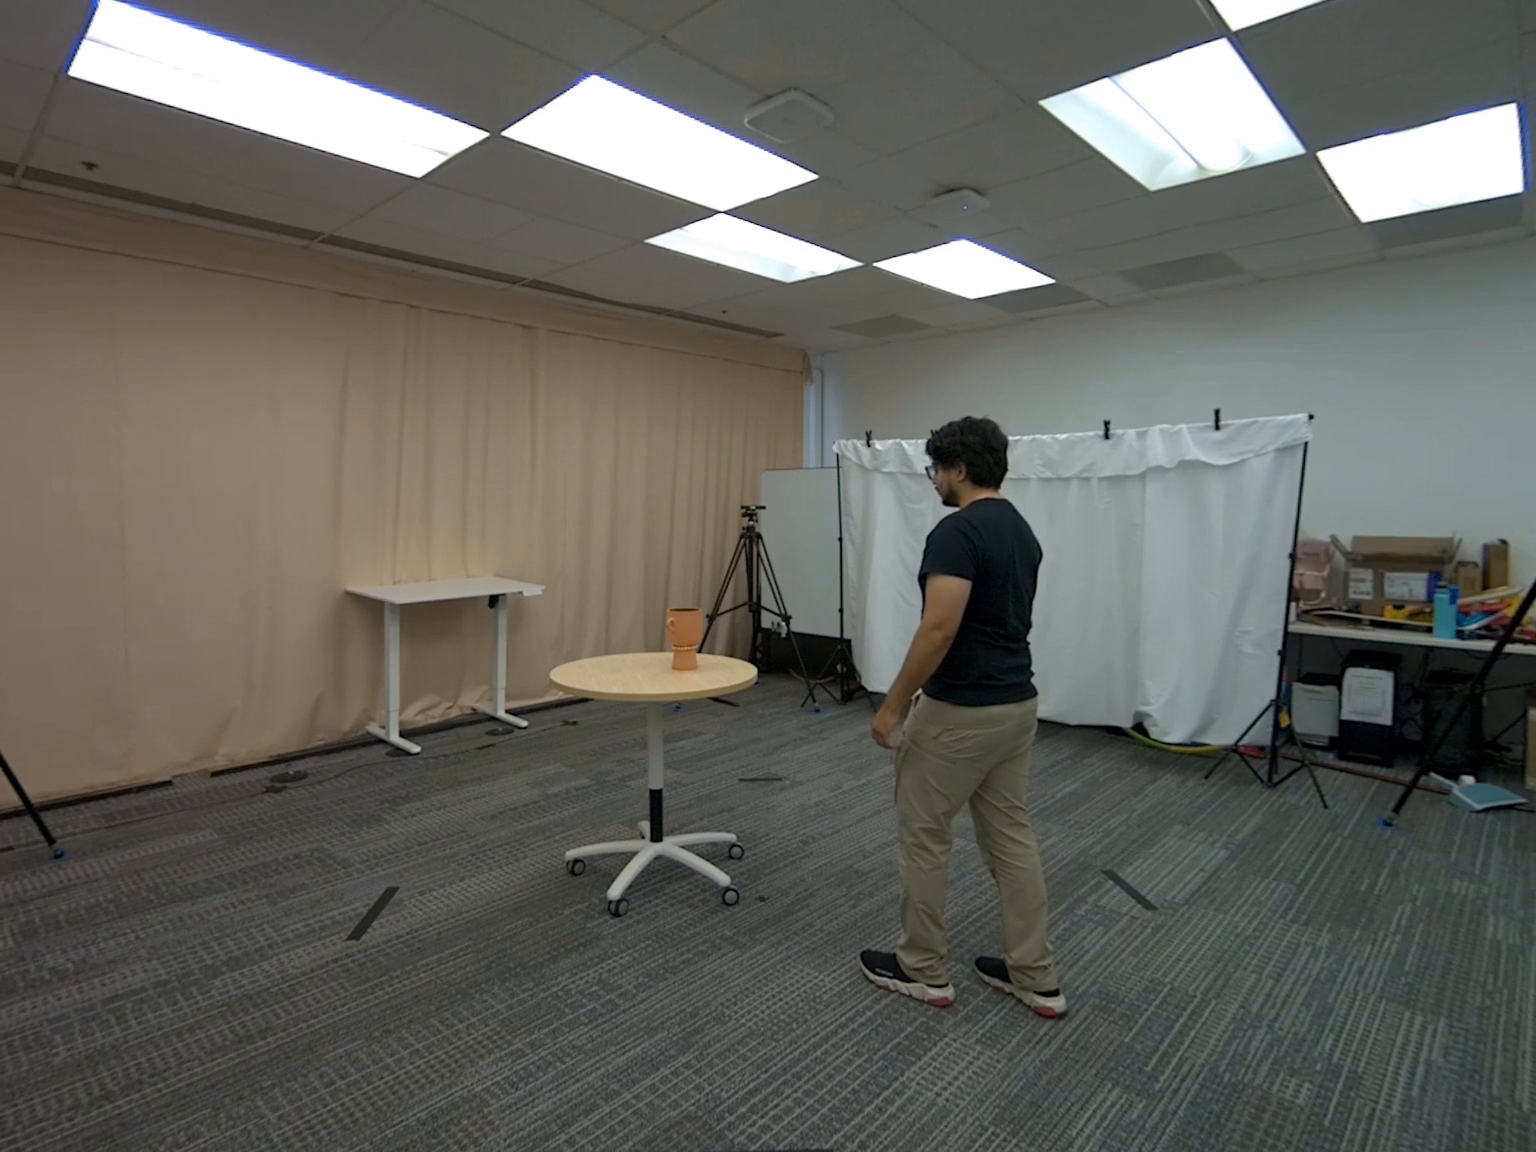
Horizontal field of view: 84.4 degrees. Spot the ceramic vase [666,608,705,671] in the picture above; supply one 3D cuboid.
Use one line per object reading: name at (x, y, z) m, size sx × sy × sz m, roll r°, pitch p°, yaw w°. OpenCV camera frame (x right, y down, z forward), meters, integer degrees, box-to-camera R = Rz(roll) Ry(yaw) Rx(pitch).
ceramic vase at (-0.316, 0.239, 3.169) m, size 0.157 × 0.219 × 0.136 m, roll 0°, pitch 3°, yaw -12°
